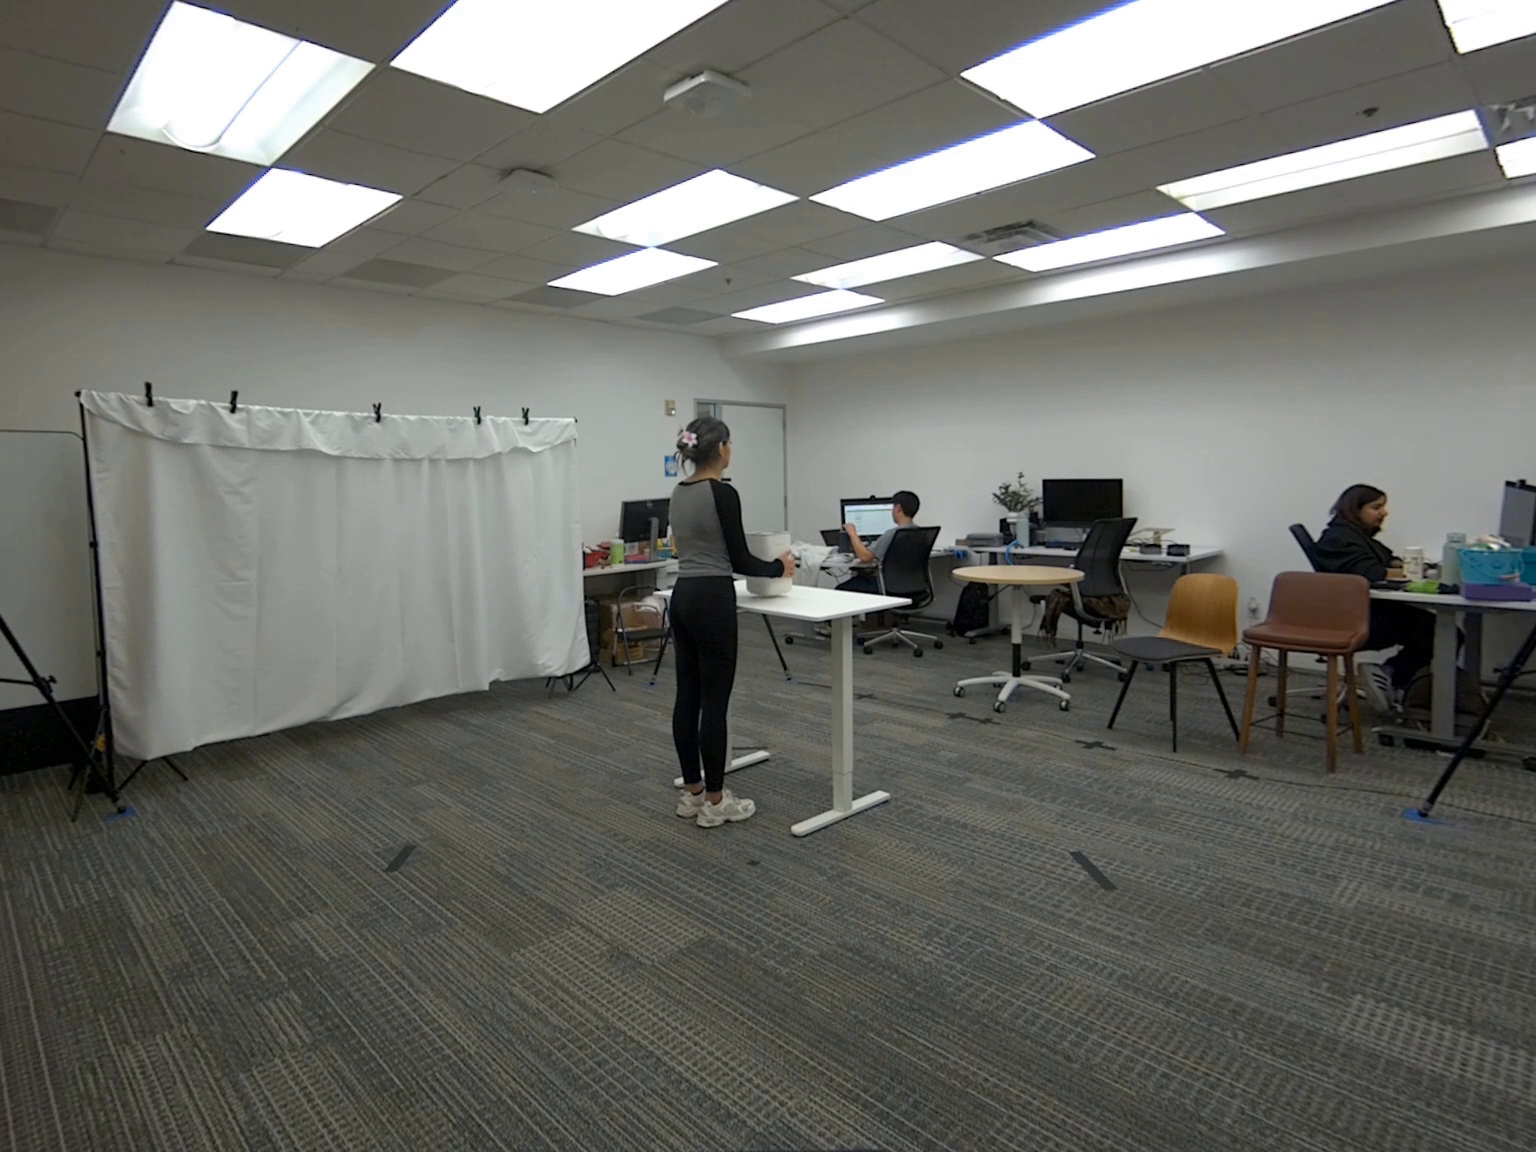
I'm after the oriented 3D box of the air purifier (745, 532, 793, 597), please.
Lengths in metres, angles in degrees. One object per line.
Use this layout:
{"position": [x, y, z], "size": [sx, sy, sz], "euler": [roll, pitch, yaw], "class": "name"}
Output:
{"position": [-0.006, -0.055, 3.711], "size": [0.167, 0.264, 0.177], "euler": [-9, 9, -39], "class": "air purifier"}
